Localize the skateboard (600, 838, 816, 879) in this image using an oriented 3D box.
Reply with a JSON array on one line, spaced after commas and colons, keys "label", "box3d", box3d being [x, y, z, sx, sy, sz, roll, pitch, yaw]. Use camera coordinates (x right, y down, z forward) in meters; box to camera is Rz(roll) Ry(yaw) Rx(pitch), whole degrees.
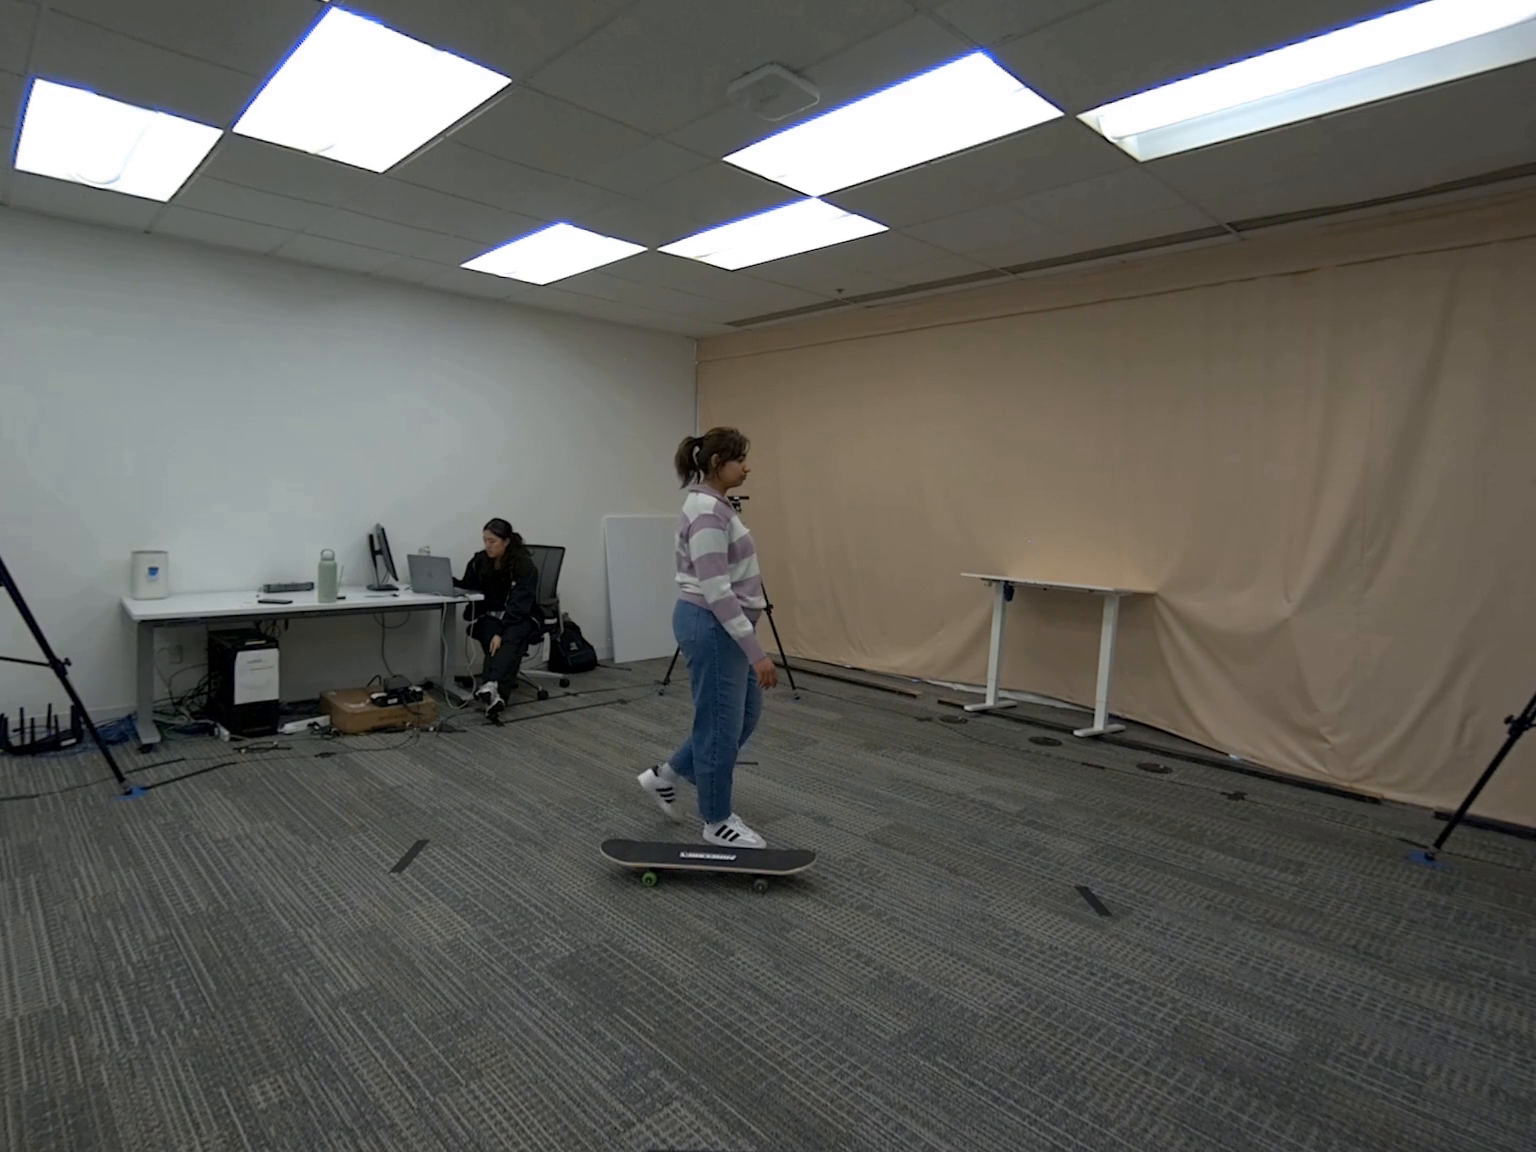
[{"label": "skateboard", "box3d": [-0.227, 1.044, 3.062, 0.789, 0.110, 0.193, 1, 5, 5]}]
